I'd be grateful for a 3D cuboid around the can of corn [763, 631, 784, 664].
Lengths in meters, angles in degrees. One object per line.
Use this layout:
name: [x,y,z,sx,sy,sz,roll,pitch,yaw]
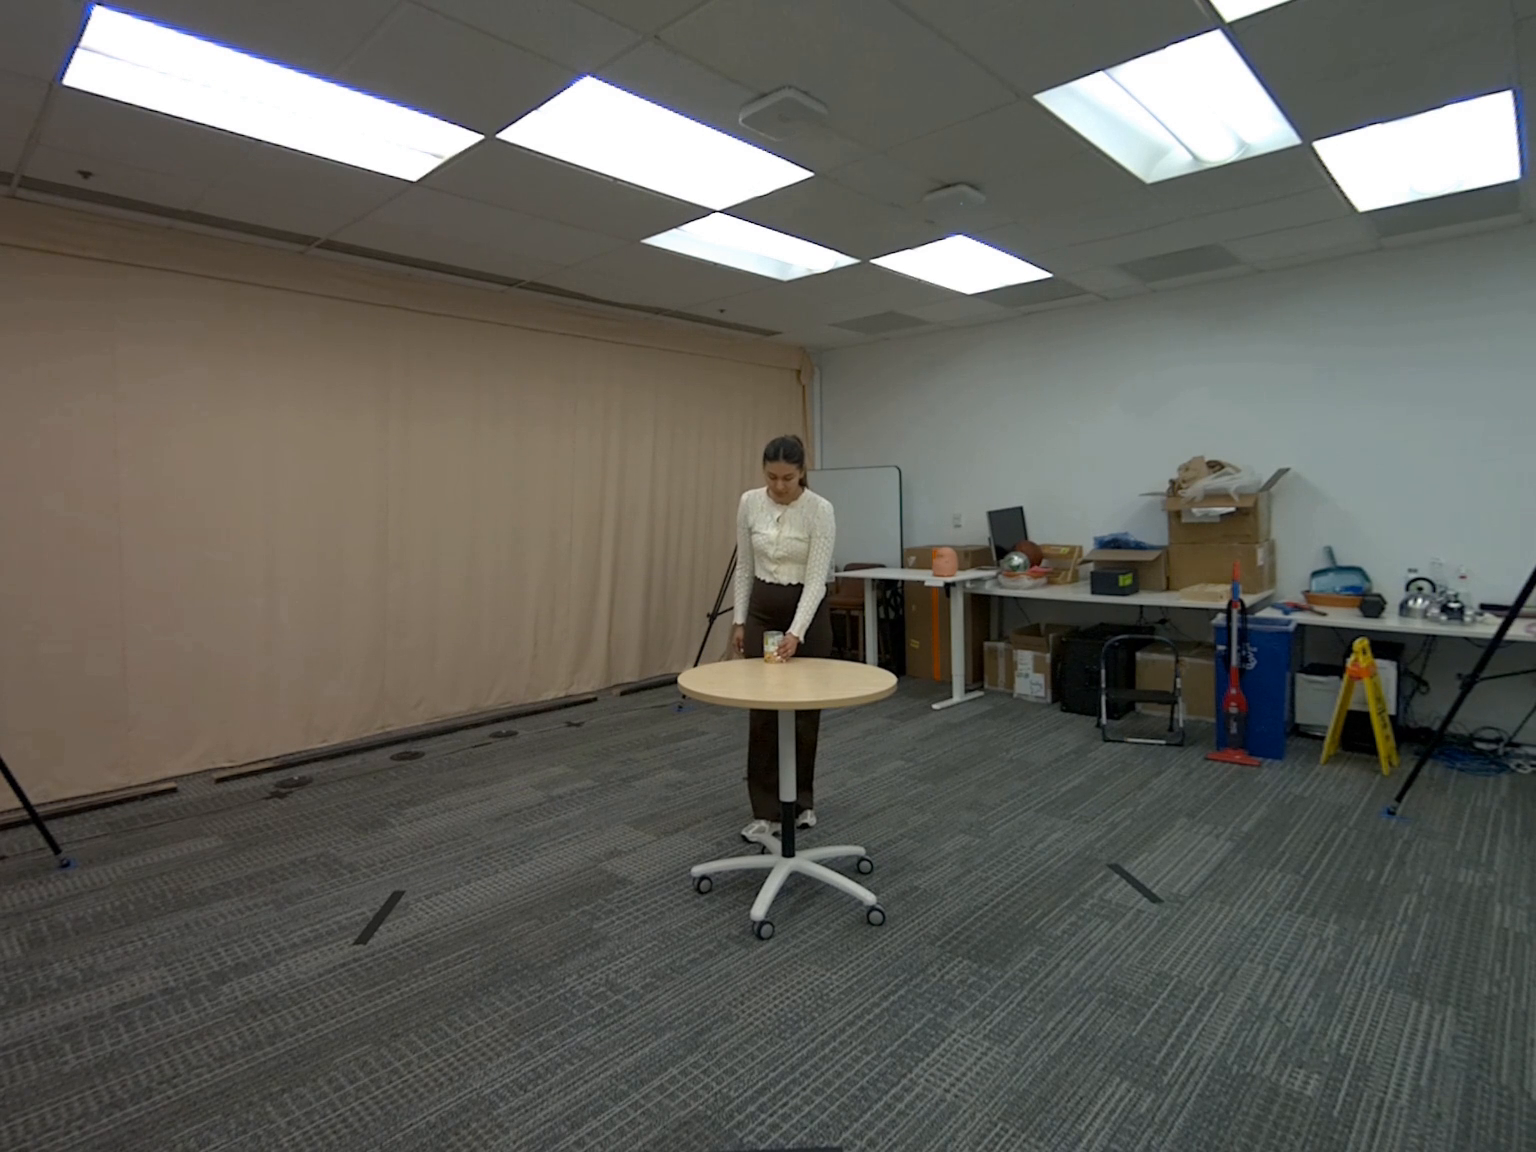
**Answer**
can of corn: [0.031,0.281,3.268,0.074,0.111,0.074,7,-2,-2]
